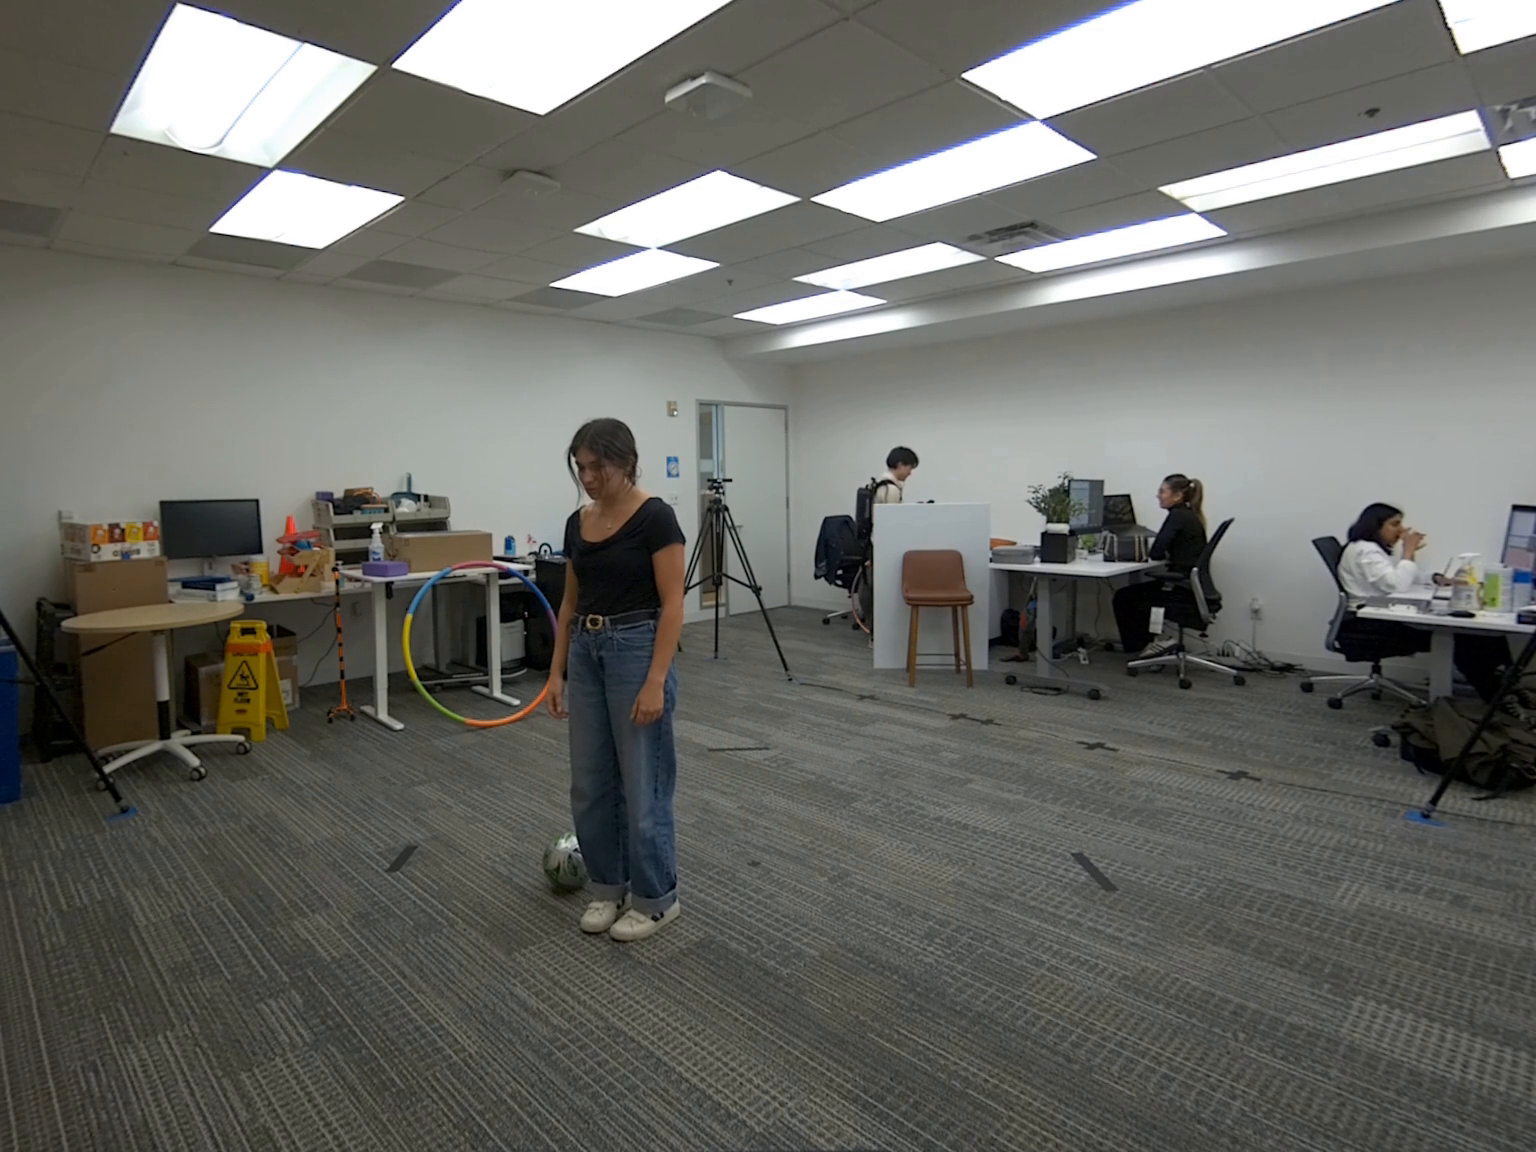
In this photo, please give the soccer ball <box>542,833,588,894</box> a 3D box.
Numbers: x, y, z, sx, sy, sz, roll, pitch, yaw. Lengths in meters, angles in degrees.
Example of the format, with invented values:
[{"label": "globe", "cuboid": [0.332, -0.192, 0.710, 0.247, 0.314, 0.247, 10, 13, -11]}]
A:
[{"label": "soccer ball", "cuboid": [-0.676, 0.984, 2.954, 0.187, 0.187, 0.188, -1, 5, -2]}]
